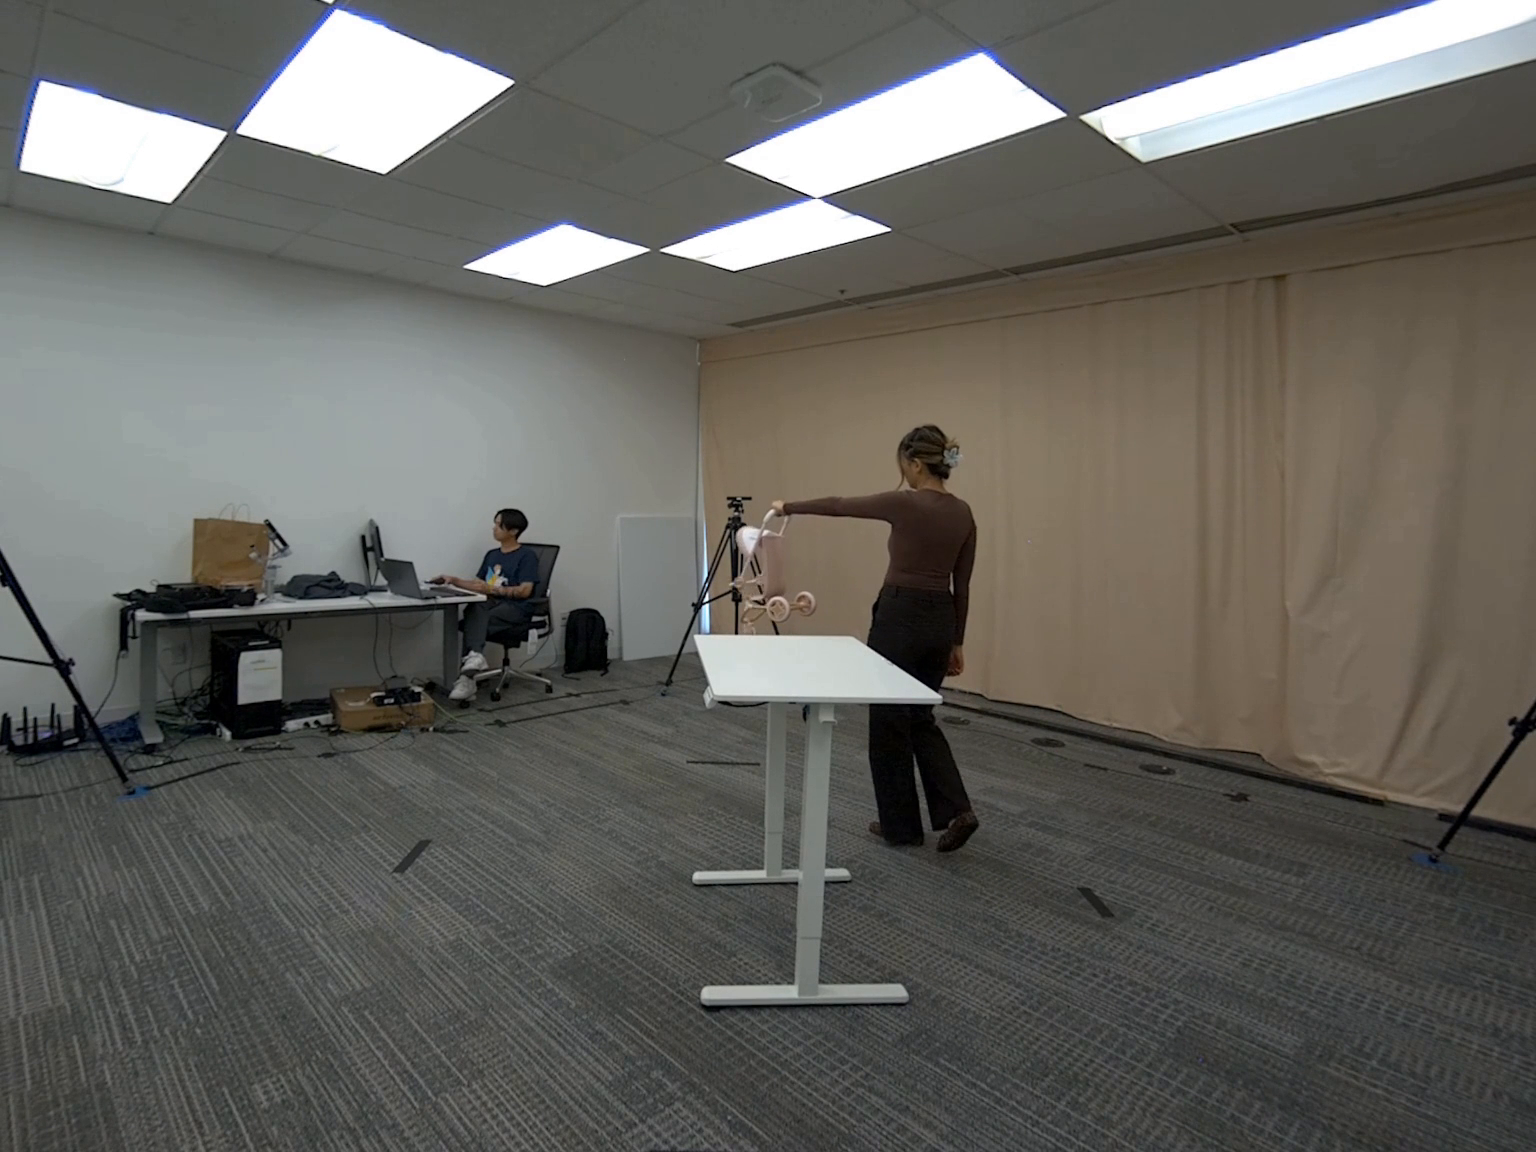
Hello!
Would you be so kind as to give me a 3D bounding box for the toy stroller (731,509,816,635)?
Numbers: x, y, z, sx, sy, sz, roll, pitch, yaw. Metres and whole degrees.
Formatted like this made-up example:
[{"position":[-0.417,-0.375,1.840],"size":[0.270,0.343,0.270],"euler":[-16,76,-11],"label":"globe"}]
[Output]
[{"position":[-0.020,0.001,3.725],"size":[0.347,0.537,0.276],"euler":[-14,-5,35],"label":"toy stroller"}]
